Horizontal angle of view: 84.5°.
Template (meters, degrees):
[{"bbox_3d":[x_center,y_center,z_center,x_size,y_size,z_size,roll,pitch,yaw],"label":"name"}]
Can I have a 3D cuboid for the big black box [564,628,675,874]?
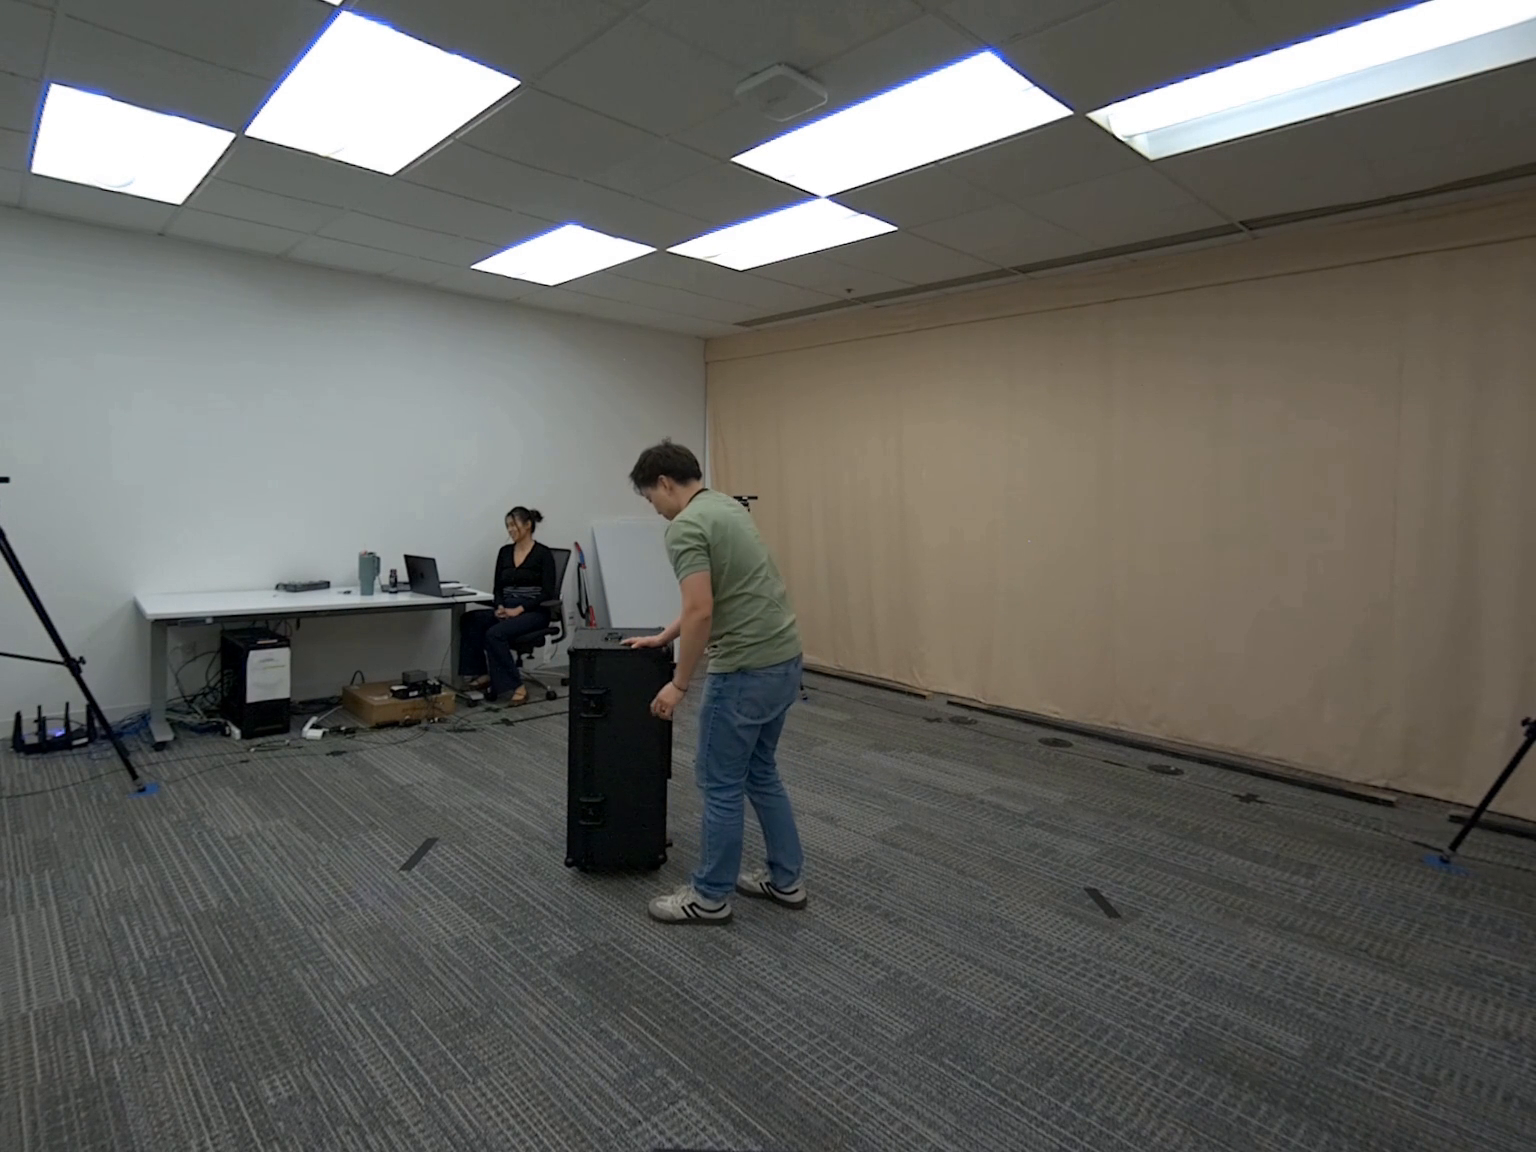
[{"bbox_3d":[-0.564,0.603,3.216,0.394,0.859,0.526,1,4,-8],"label":"big black box"}]
